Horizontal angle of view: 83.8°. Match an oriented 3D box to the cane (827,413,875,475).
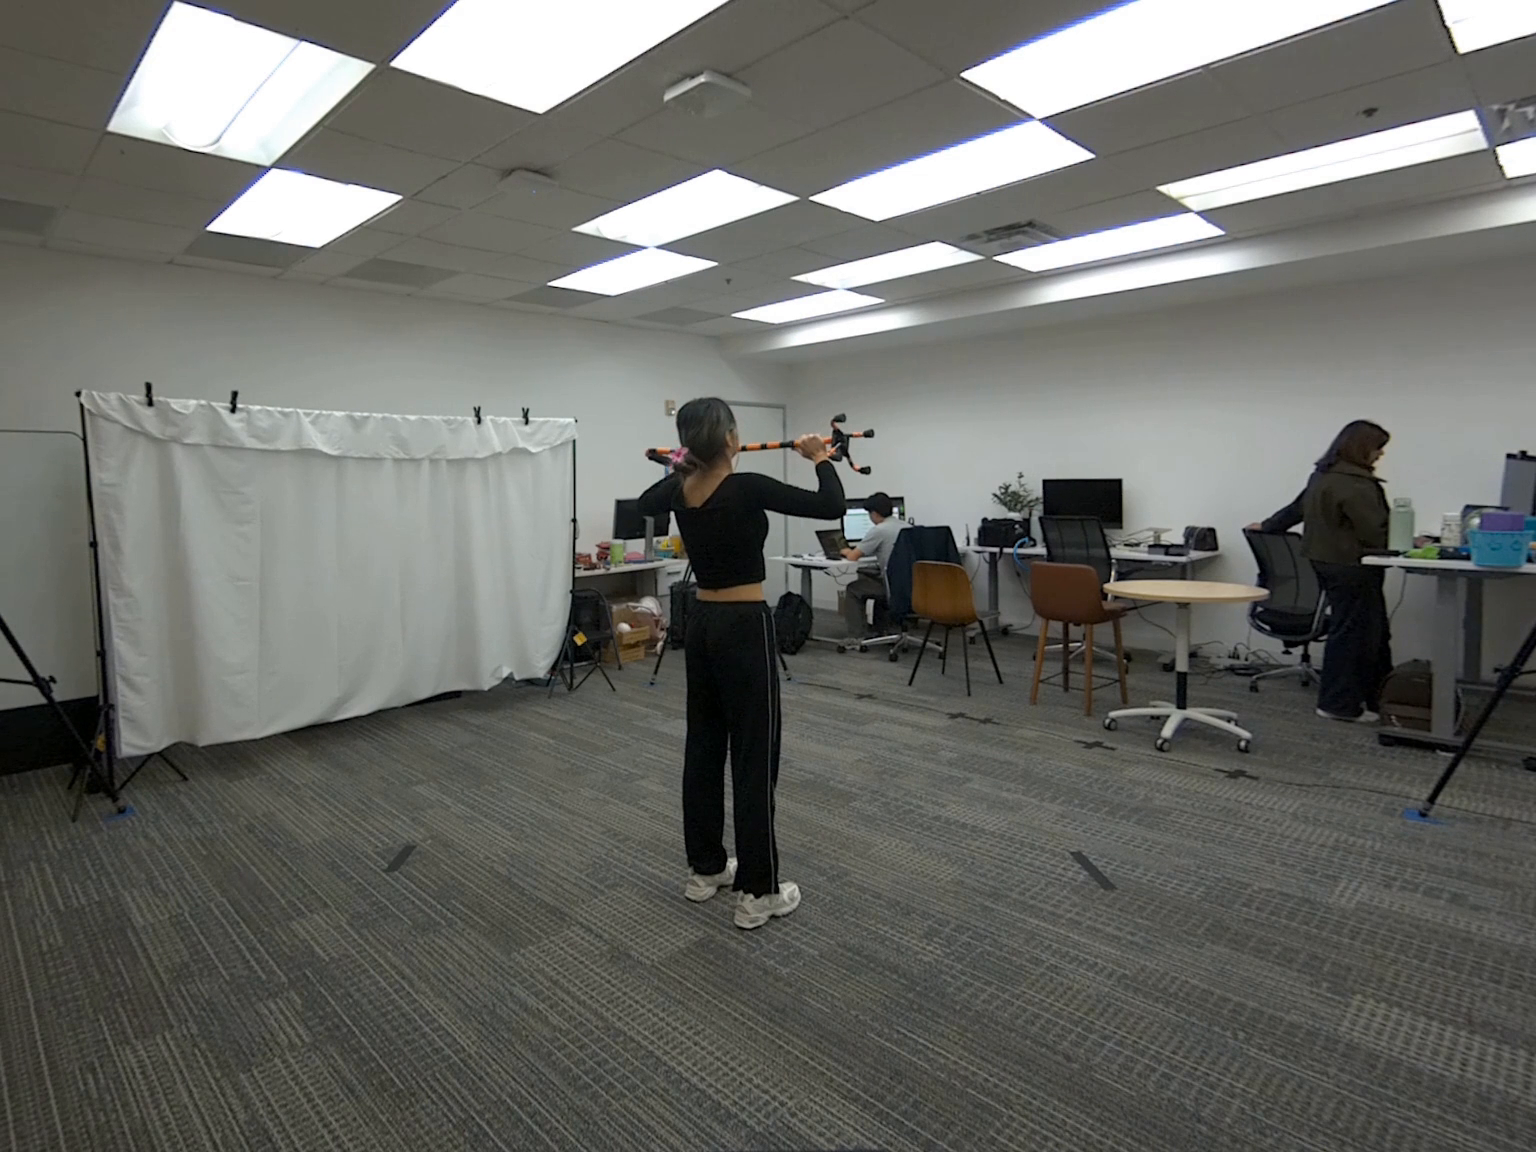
[{"bbox_3d":[-0.085,-0.429,2.968,0.935,0.152,0.199,2,-9,39],"label":"cane"}]
